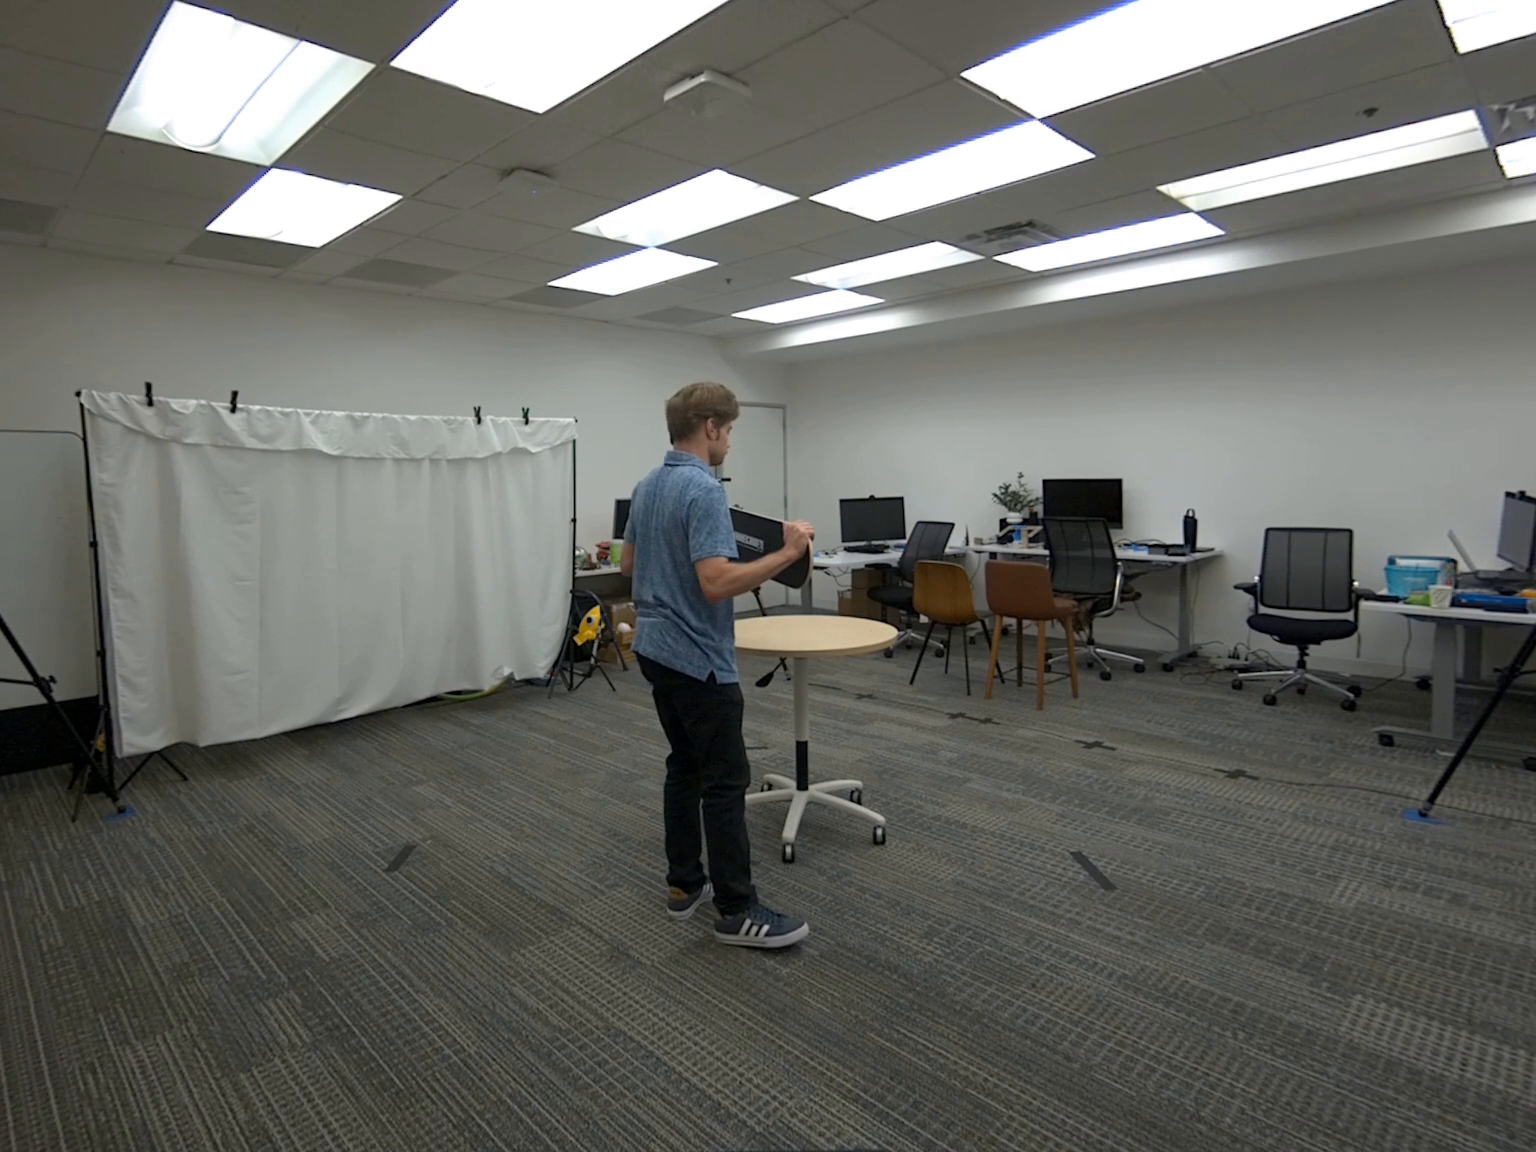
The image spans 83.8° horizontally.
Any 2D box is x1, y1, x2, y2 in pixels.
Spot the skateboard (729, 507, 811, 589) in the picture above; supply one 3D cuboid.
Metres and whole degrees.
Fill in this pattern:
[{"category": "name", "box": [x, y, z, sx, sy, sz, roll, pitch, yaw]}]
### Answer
[{"category": "skateboard", "box": [-0.035, -0.114, 2.829, 0.108, 0.192, 0.811, -2, 12, -30]}]
